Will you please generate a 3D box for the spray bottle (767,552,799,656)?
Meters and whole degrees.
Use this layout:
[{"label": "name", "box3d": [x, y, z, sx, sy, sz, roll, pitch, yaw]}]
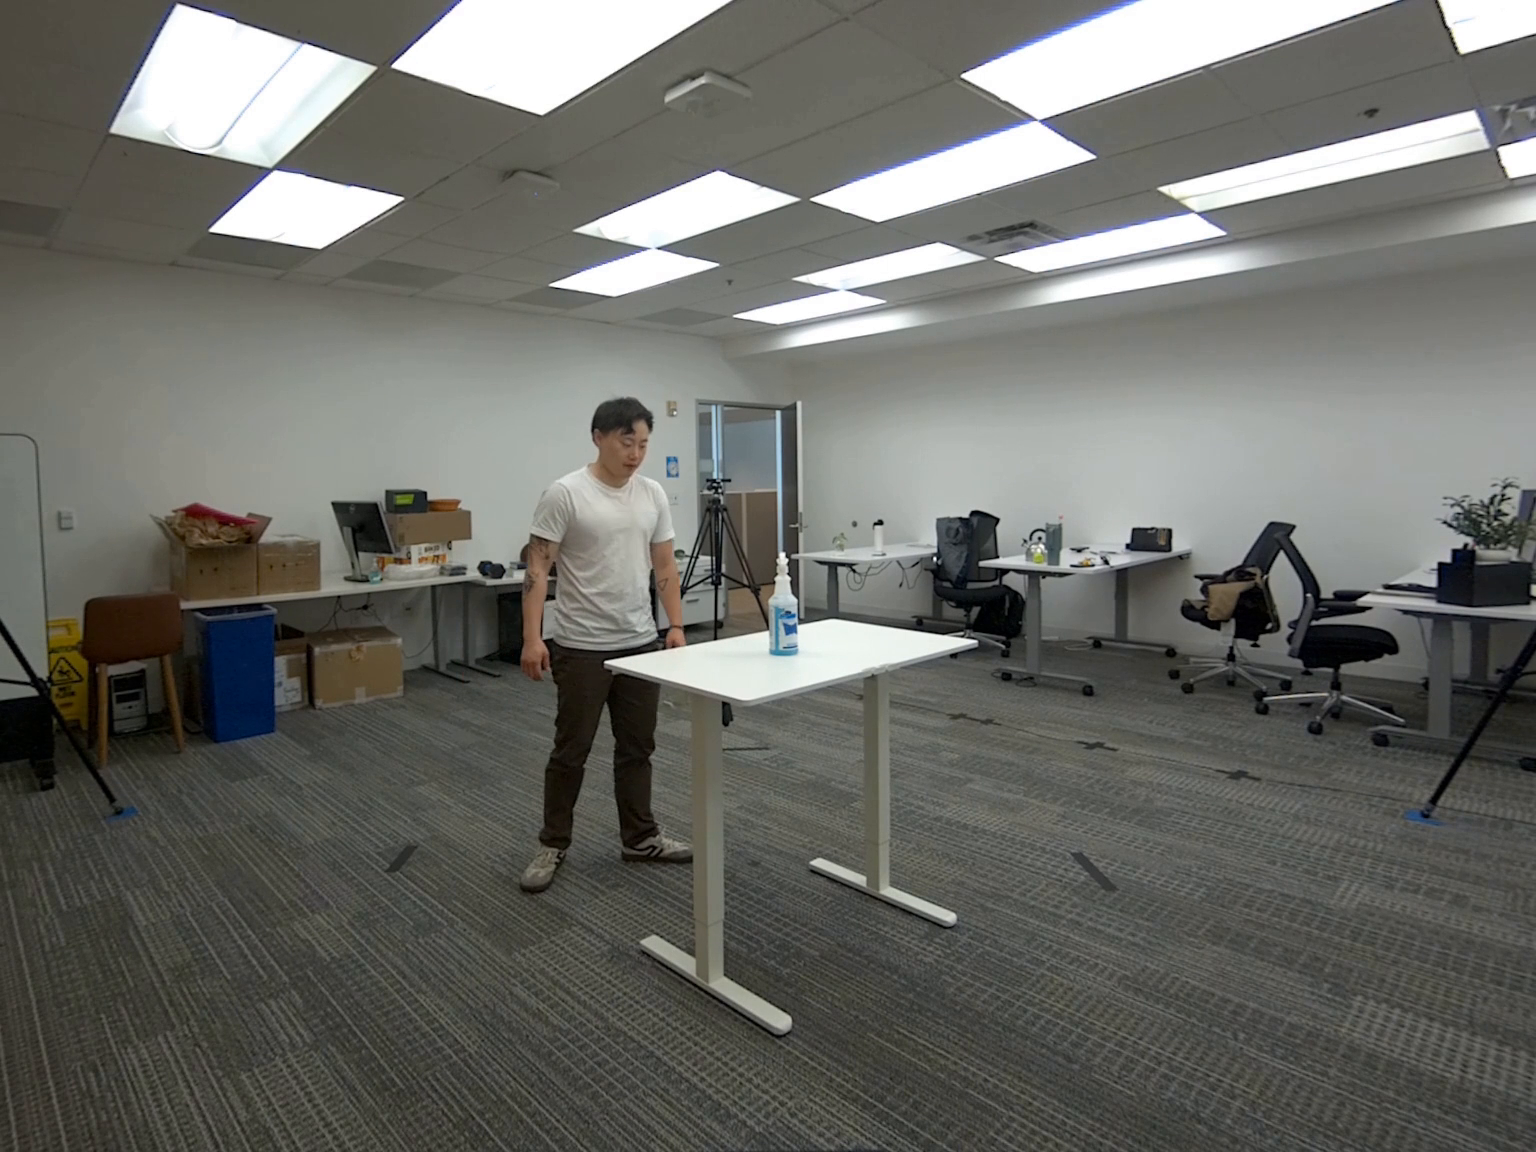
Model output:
[{"label": "spray bottle", "box3d": [0.048, 0.084, 2.523, 0.089, 0.297, 0.088, -1, 2, 26]}]
